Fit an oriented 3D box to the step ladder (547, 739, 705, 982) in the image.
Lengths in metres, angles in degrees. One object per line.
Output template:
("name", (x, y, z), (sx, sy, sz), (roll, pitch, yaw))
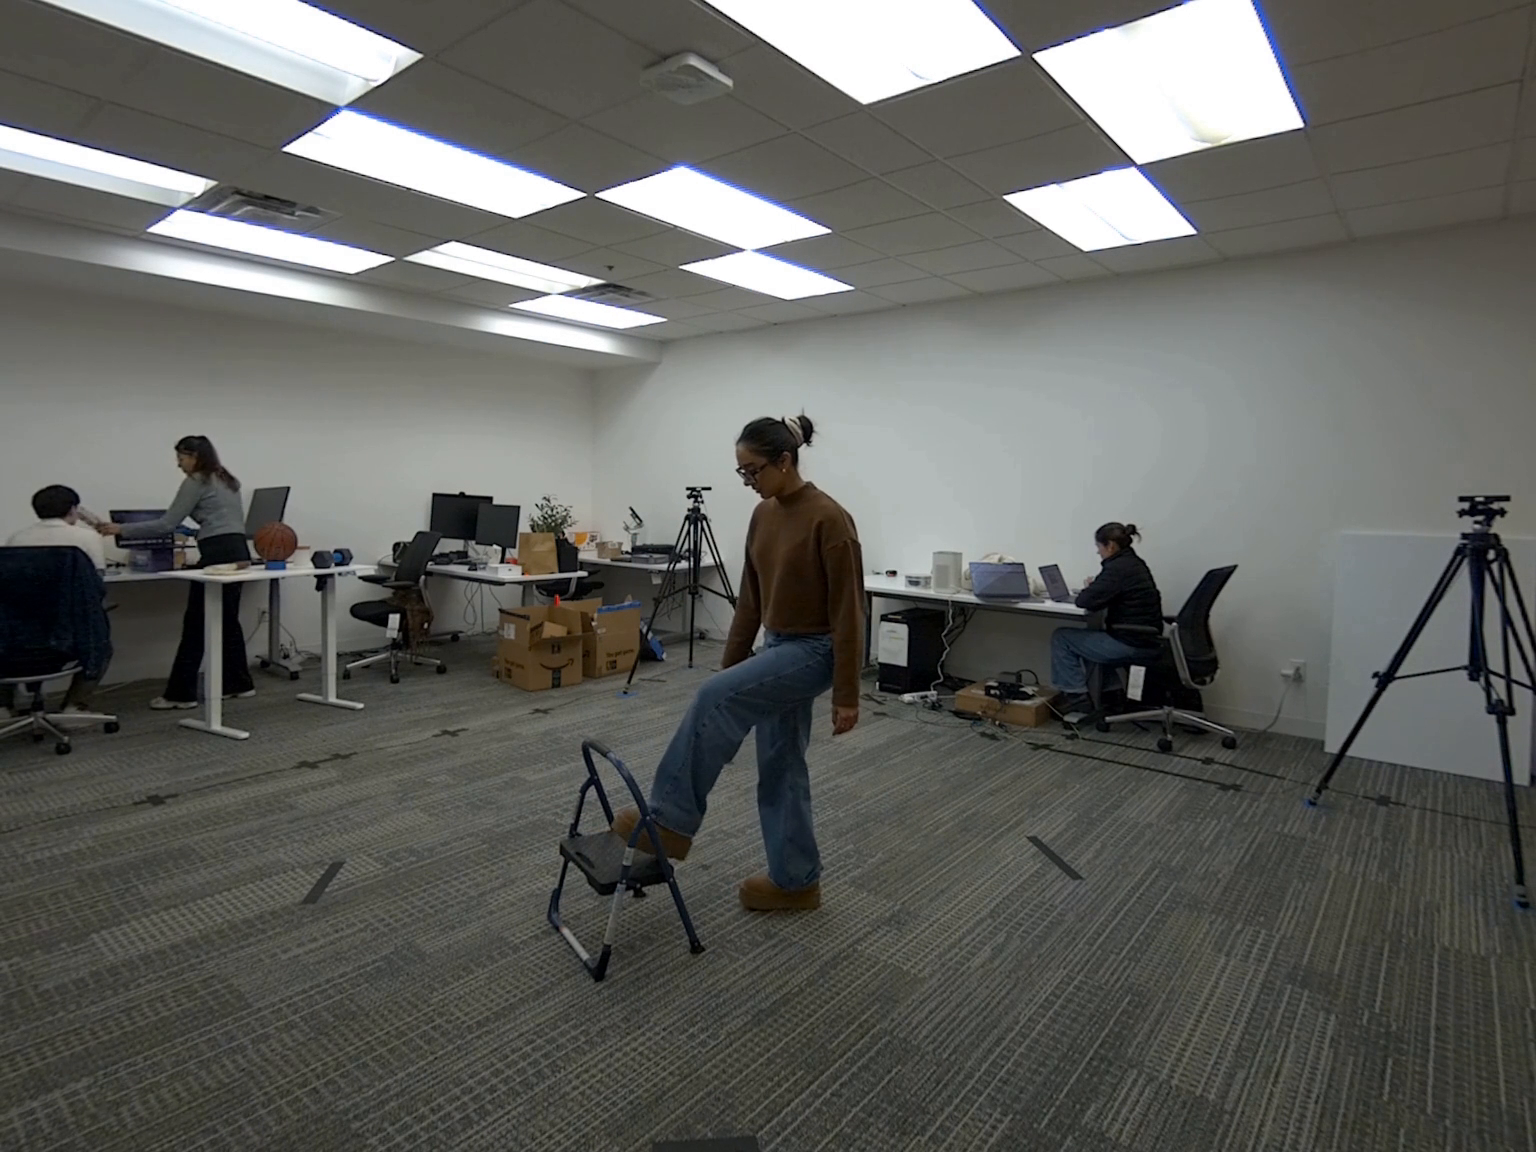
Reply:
("step ladder", (-0.459, 0.808, 2.624), (0.339, 0.604, 0.444), (-1, 4, -34))
